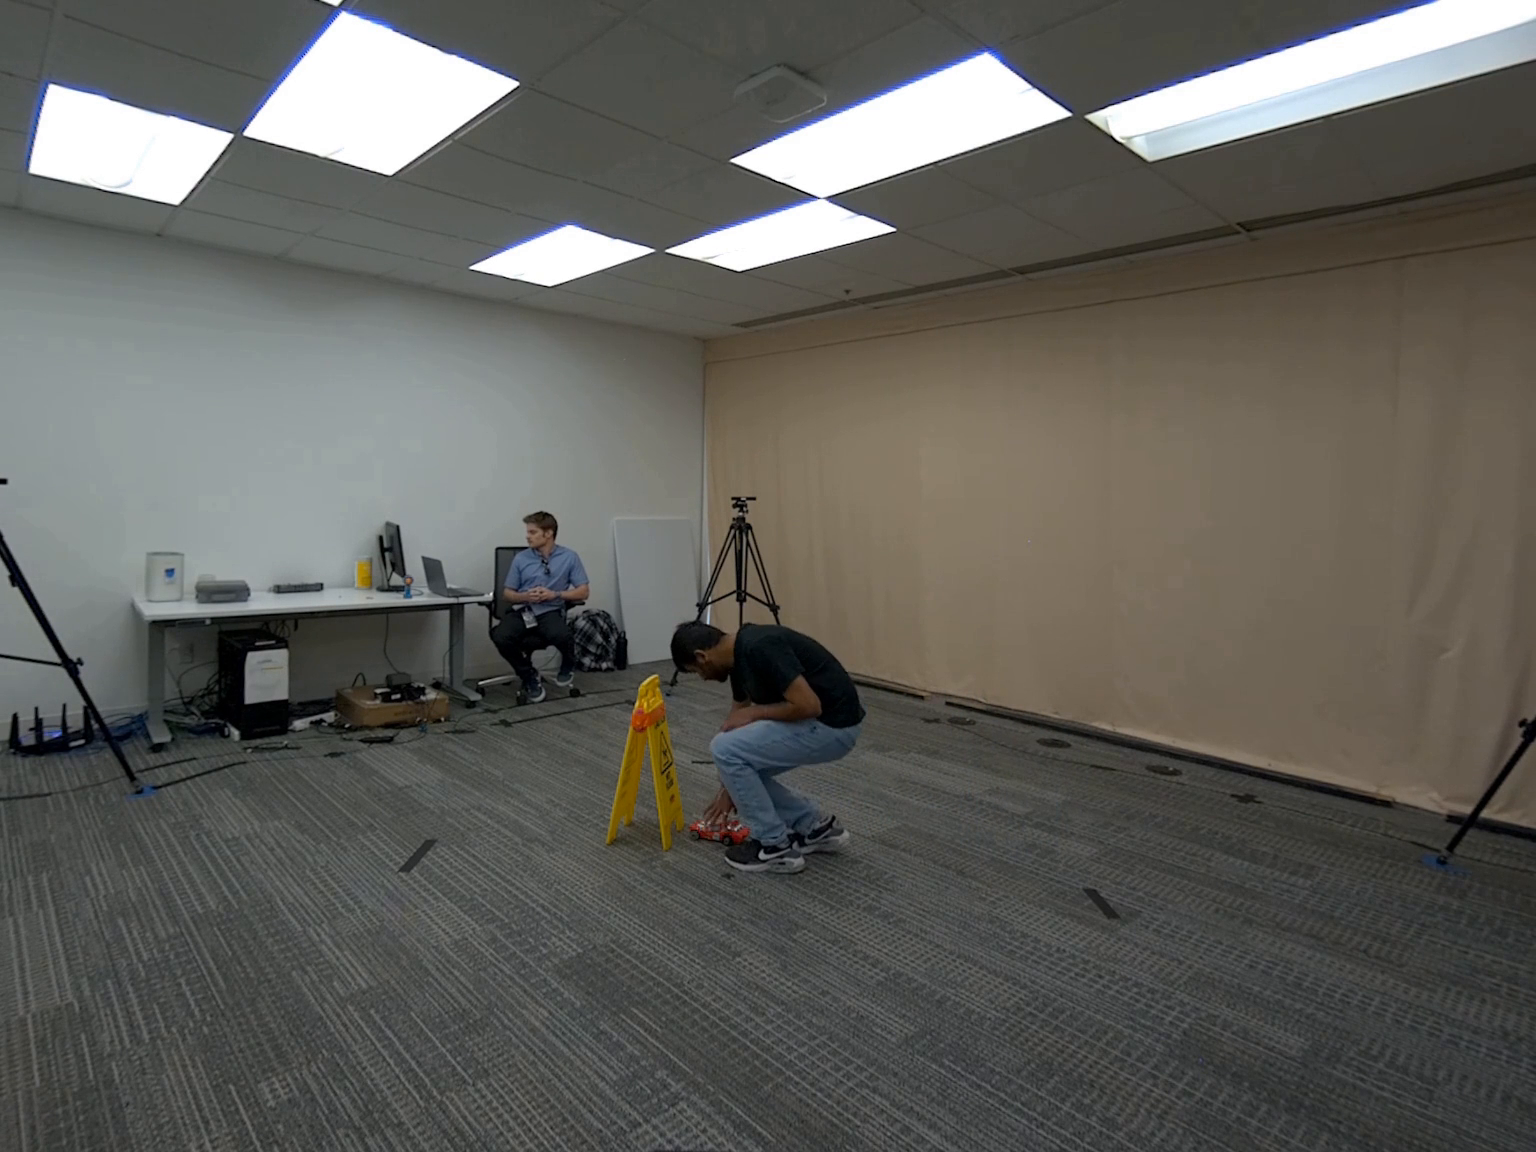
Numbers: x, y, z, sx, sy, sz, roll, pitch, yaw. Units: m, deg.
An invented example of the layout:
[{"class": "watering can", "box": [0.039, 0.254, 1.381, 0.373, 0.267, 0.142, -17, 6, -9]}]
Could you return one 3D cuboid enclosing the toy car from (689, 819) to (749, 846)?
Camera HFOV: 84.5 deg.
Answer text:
[{"class": "toy car", "box": [-0.196, 1.043, 3.429, 0.258, 0.083, 0.128, -9, 0, 22]}]
